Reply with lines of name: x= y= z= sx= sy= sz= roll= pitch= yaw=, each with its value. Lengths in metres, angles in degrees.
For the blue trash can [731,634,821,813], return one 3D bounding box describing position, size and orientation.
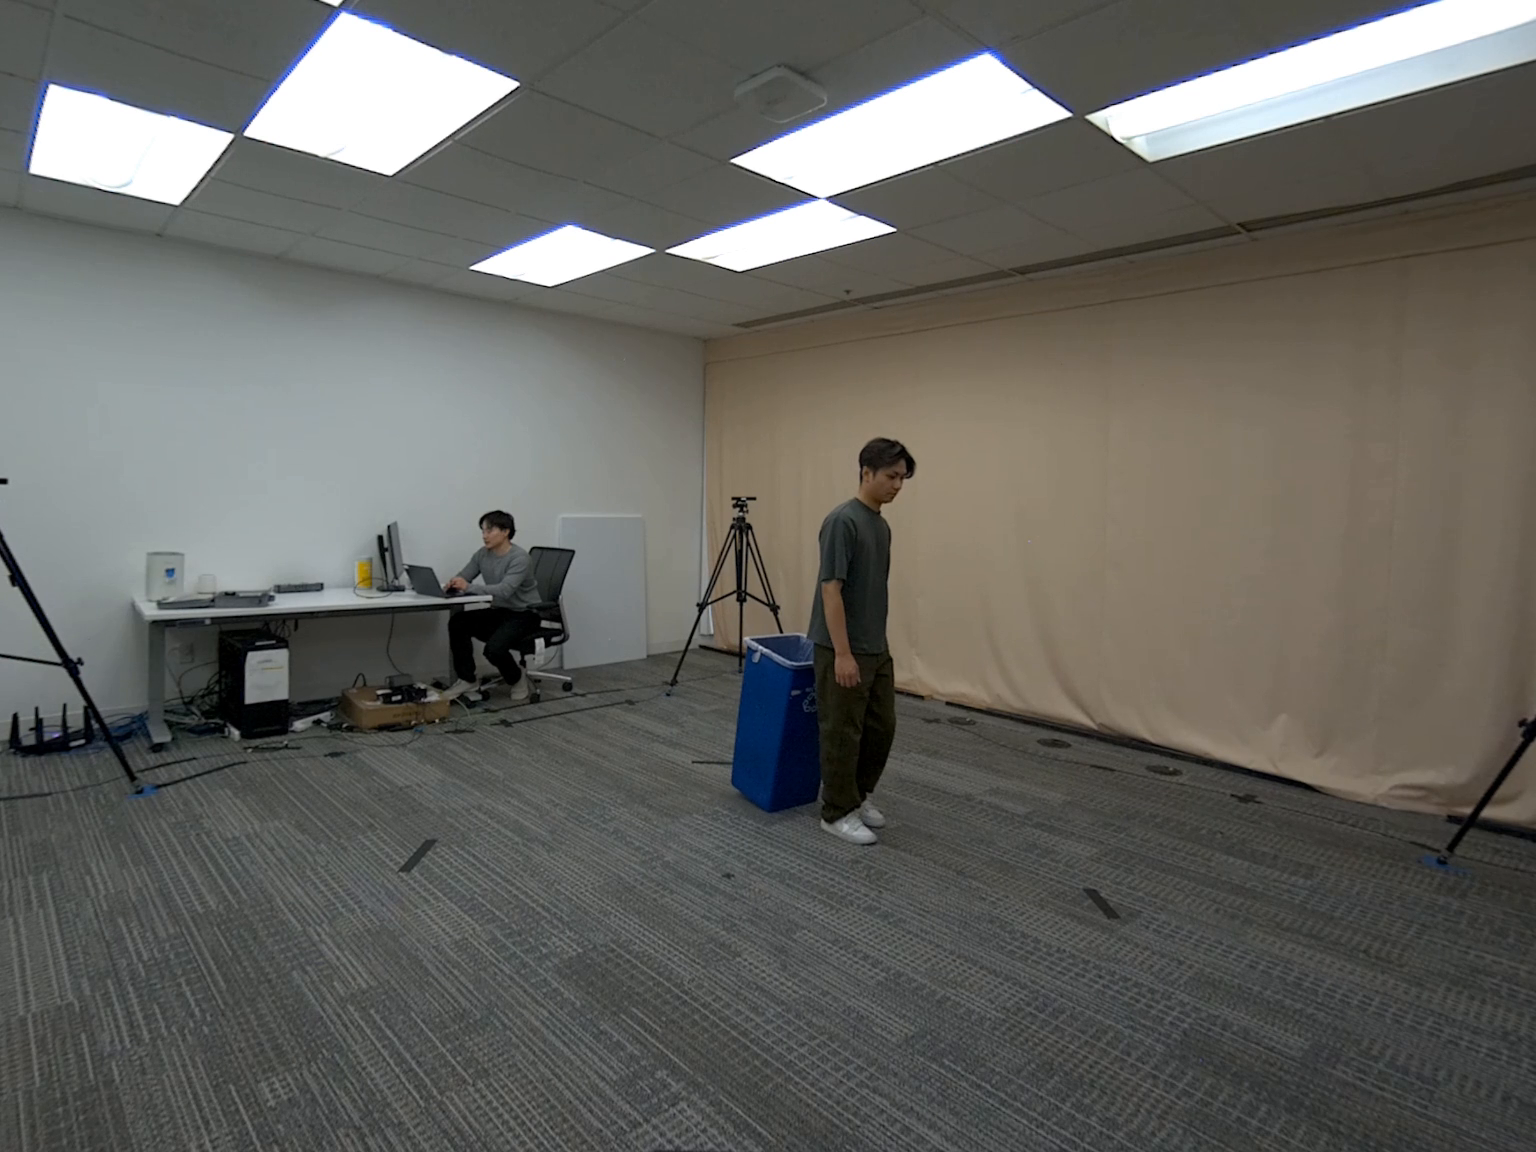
blue trash can: x=0.072 y=0.666 z=3.890 sx=0.365 sy=0.708 sz=0.389 roll=-1 pitch=14 yaw=-39
